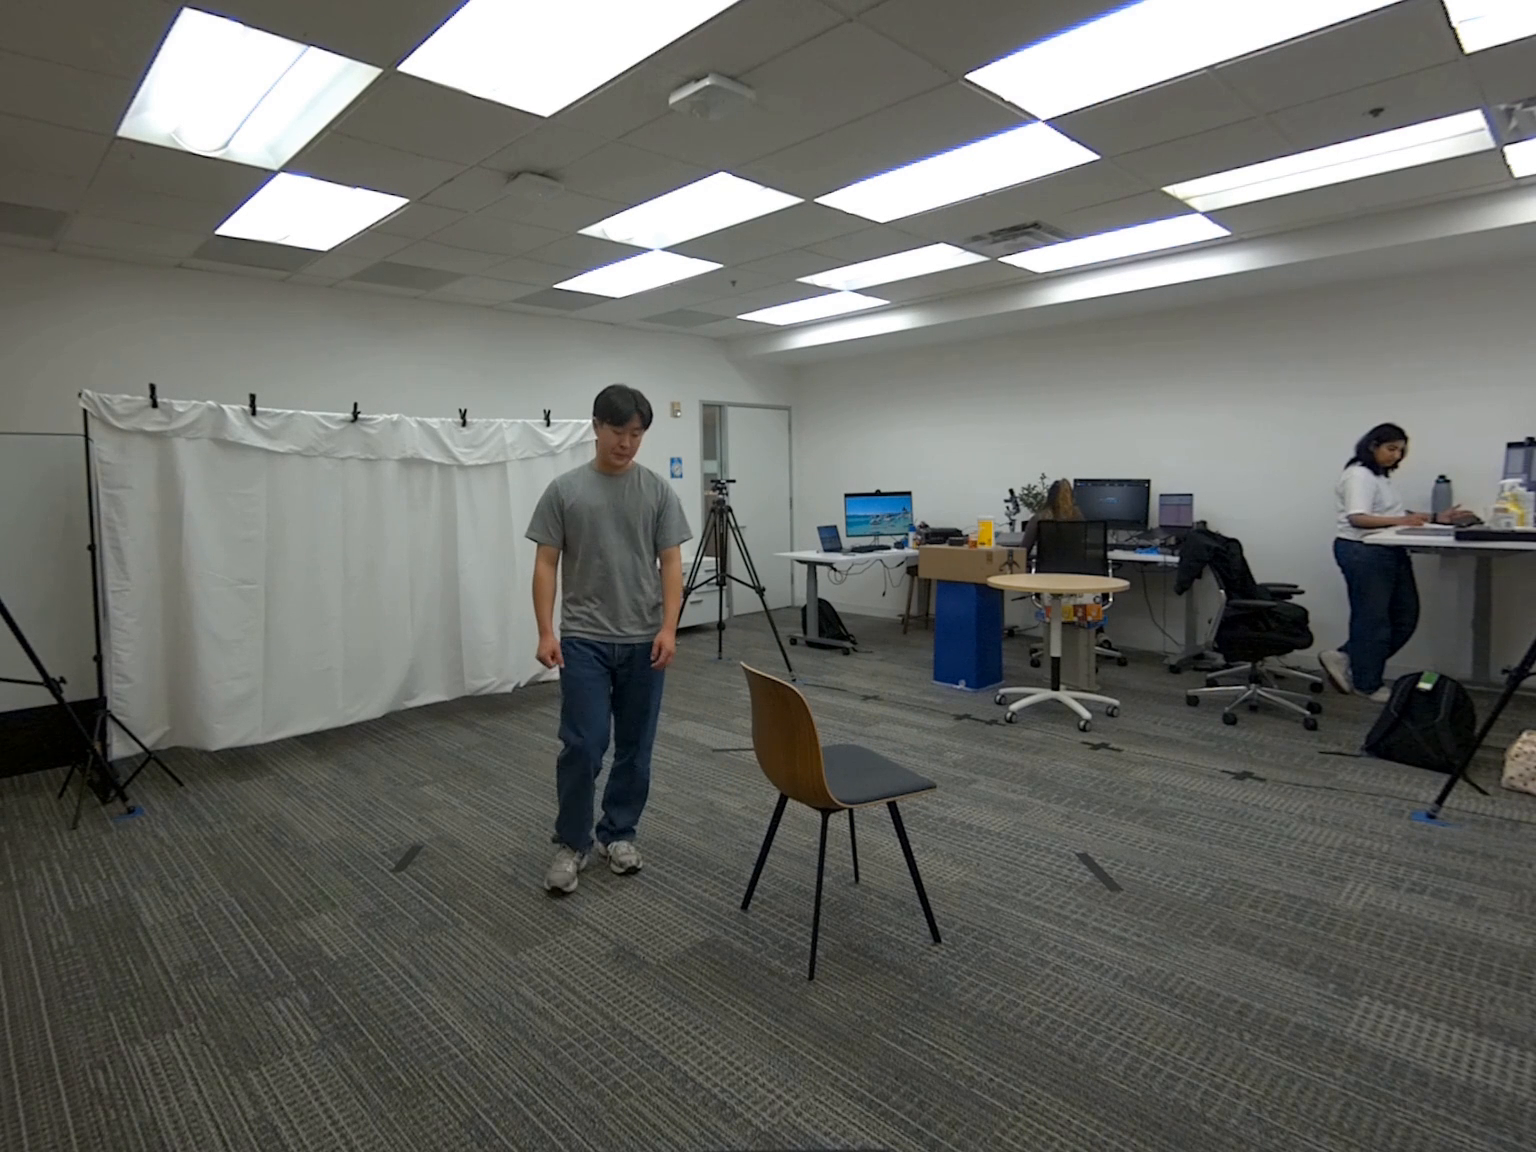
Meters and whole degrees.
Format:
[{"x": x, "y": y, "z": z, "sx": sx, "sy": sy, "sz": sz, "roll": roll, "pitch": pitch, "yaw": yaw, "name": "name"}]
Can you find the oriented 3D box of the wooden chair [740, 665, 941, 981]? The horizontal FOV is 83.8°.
[{"x": 0.218, "y": 0.672, "z": 2.636, "sx": 0.513, "sy": 0.872, "sz": 0.490, "roll": -7, "pitch": 6, "yaw": -25, "name": "wooden chair"}]
